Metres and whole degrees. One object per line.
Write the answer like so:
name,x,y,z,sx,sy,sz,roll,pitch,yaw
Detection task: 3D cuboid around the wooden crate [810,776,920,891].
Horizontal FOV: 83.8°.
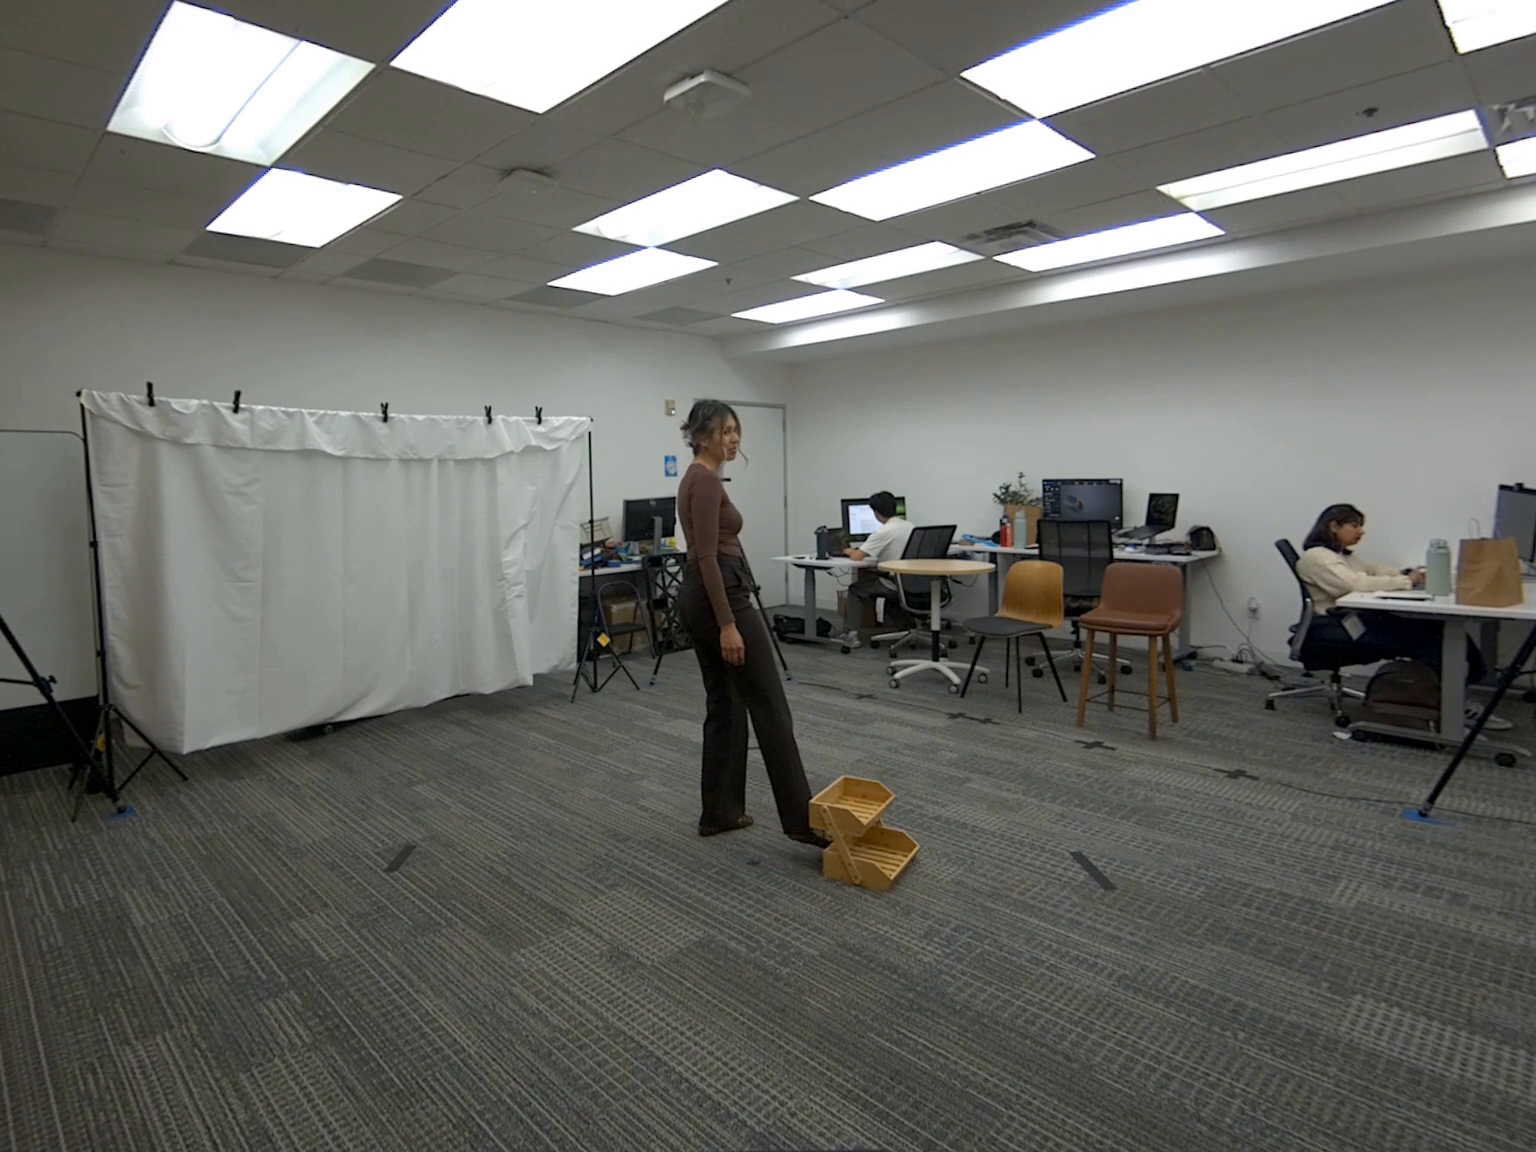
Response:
wooden crate,0.346,0.904,3.060,0.310,0.272,0.317,1,6,30
